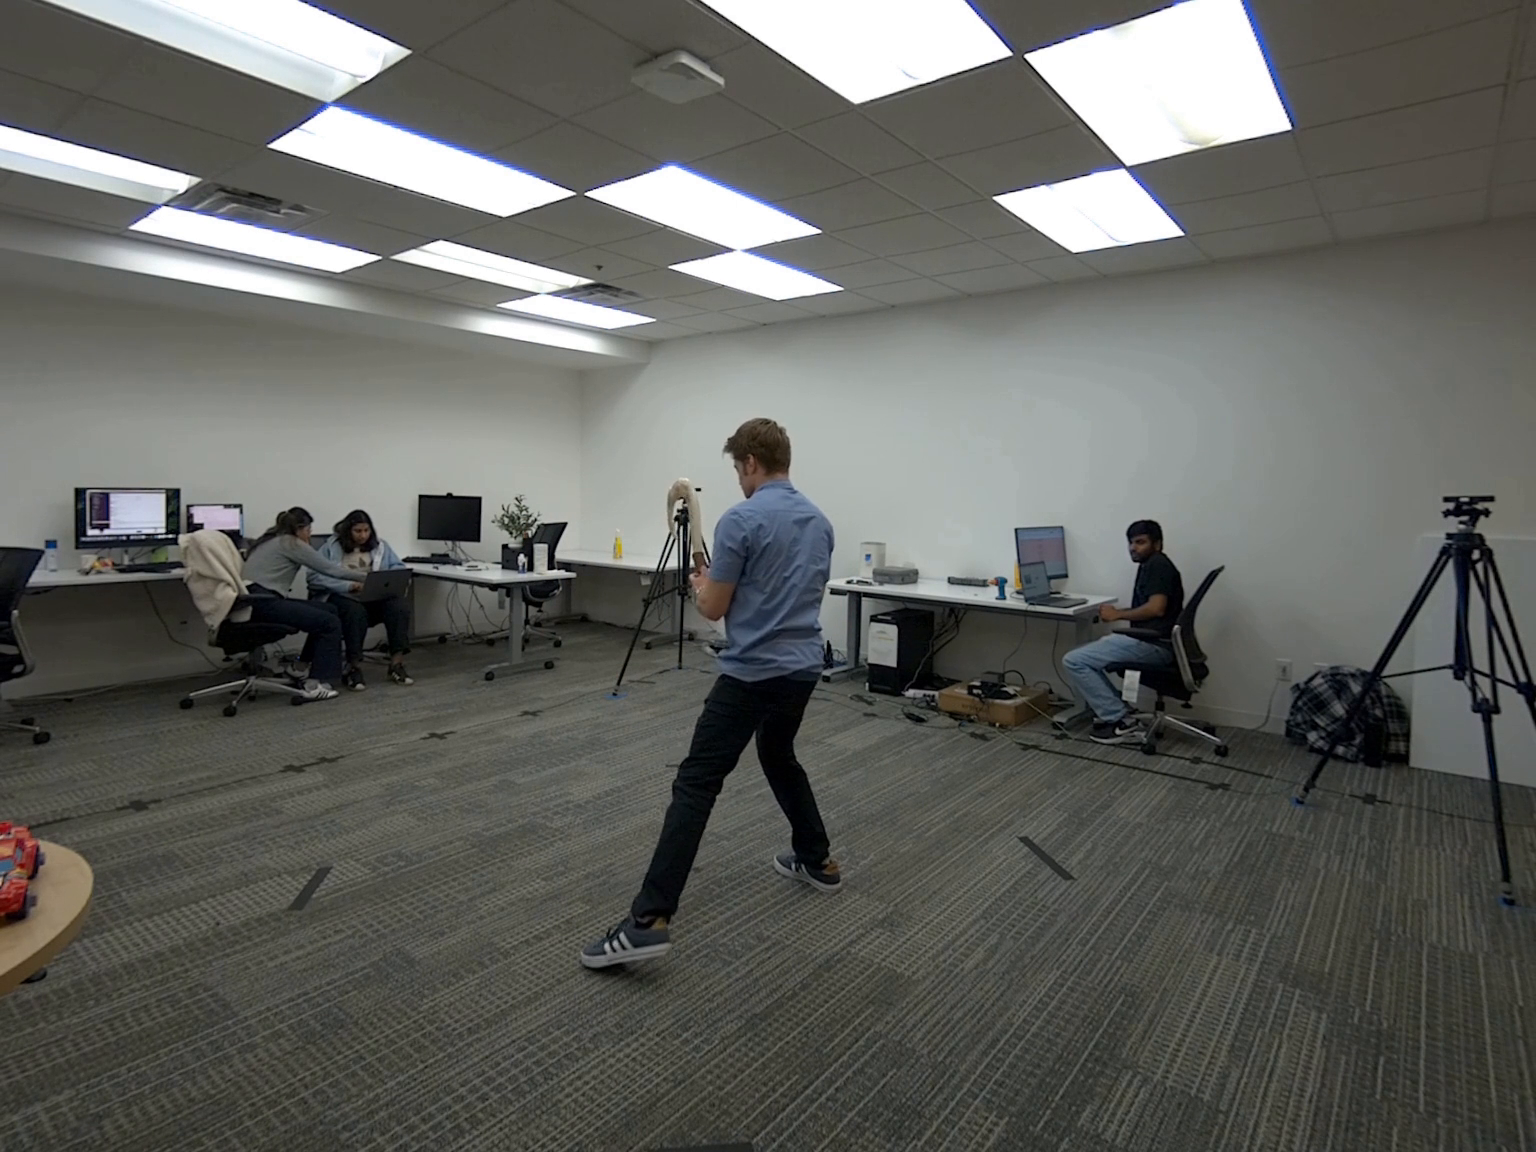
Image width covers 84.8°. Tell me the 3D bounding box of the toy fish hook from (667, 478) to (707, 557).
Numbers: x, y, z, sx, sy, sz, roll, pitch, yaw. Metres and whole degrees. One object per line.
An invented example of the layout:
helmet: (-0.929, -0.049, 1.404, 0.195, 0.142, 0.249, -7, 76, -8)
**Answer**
toy fish hook: (-0.304, -0.120, 3.118, 0.047, 0.518, 0.225, -2, -23, -30)
